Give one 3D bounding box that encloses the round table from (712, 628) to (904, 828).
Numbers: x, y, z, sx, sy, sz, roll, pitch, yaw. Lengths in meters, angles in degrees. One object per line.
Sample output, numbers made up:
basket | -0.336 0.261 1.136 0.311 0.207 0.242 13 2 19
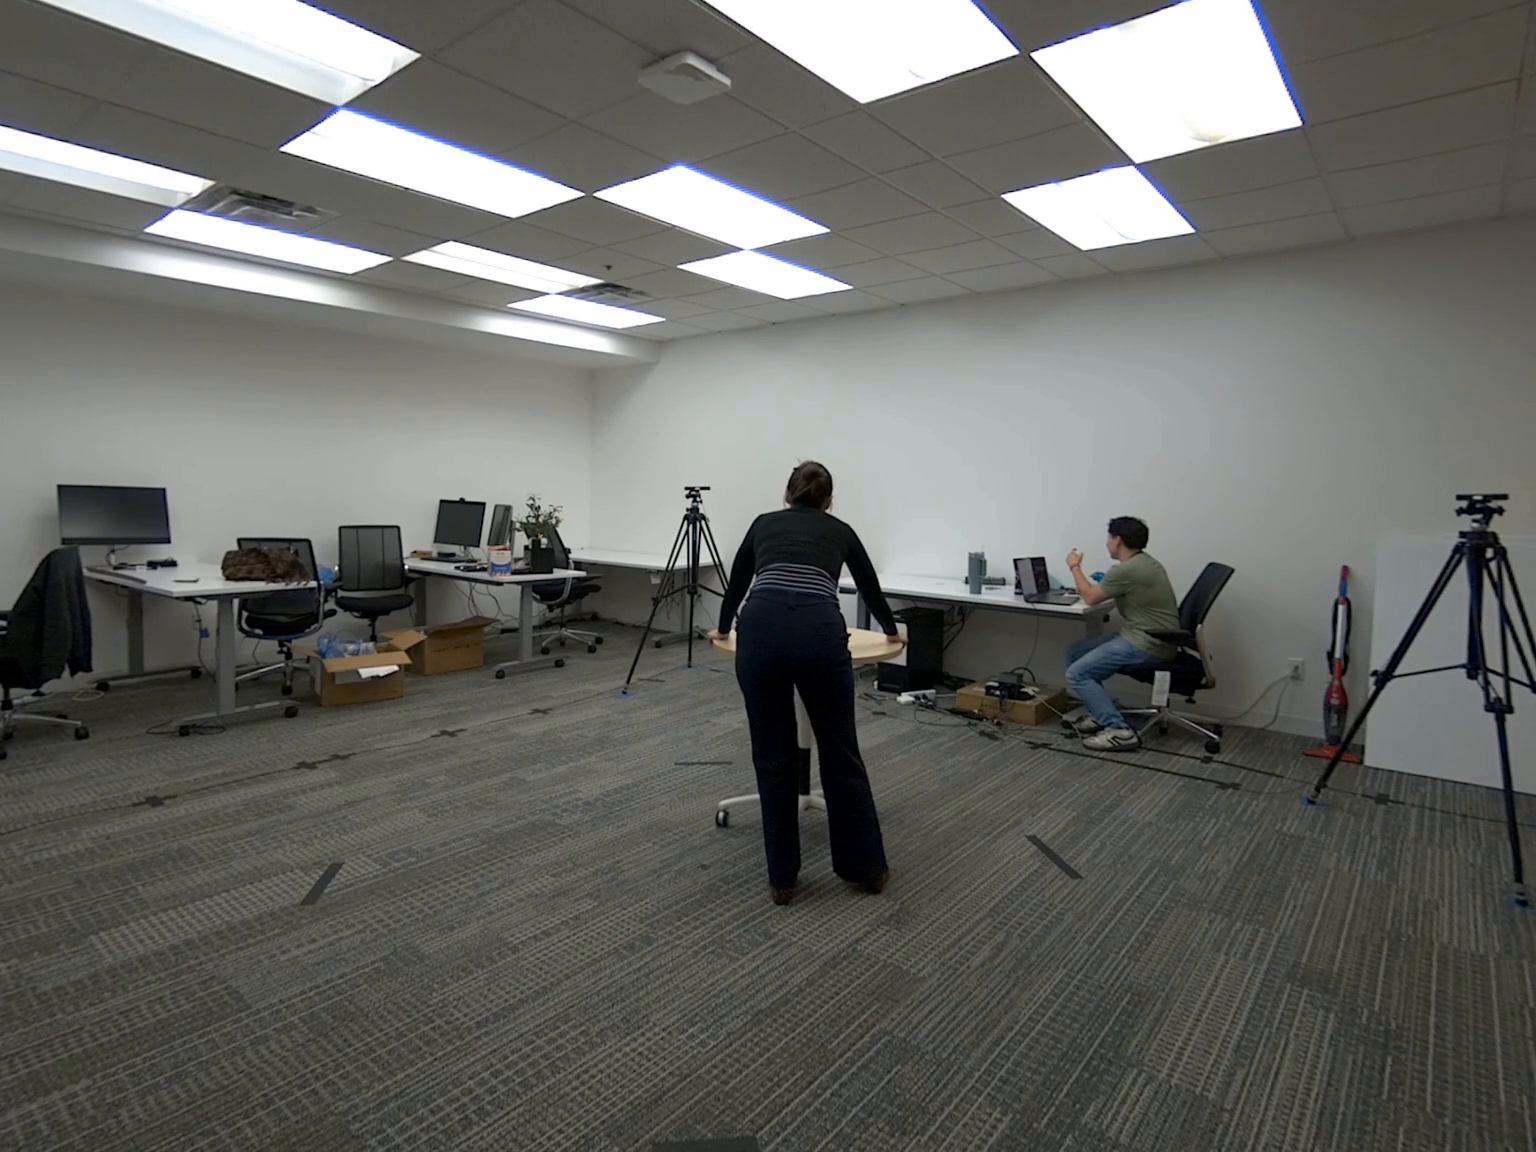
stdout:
round table | 0.138 0.645 3.493 0.763 0.791 0.768 1 4 -2
